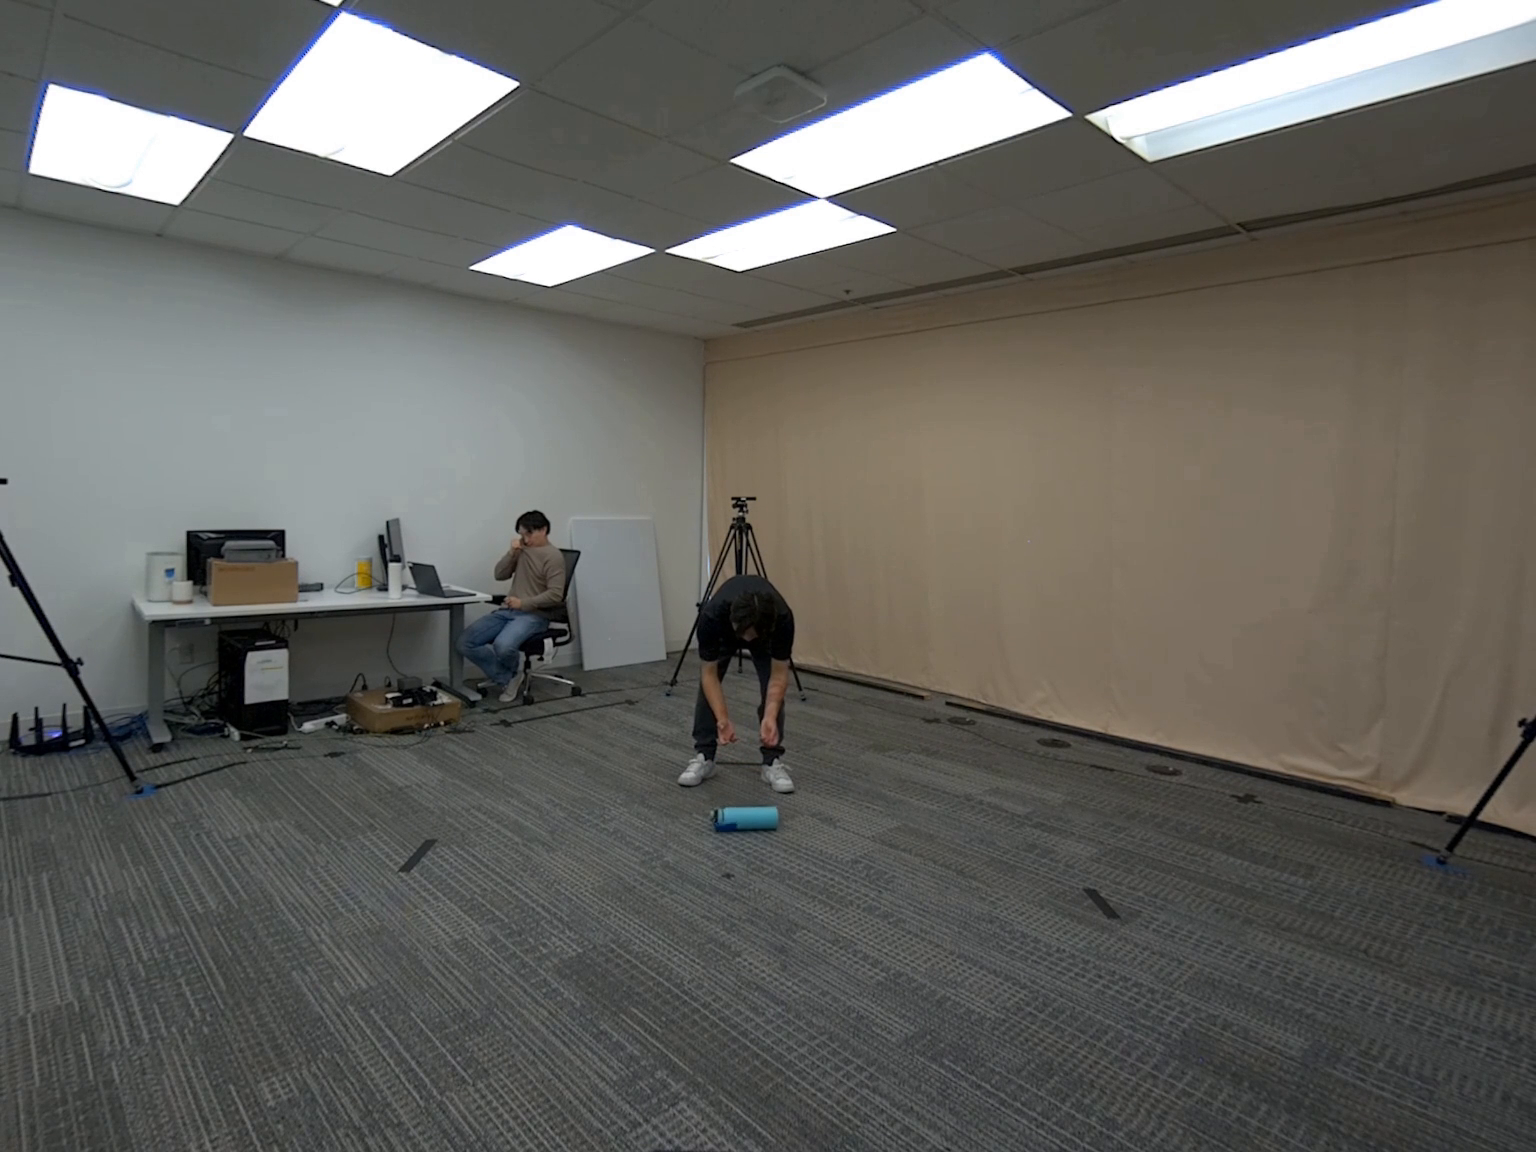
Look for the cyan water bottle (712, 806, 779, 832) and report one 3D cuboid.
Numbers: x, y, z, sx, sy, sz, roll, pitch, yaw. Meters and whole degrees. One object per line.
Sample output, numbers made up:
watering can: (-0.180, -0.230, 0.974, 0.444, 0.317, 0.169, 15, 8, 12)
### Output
cyan water bottle: (-0.110, 1.018, 3.550, 0.281, 0.092, 0.093, 0, 4, -10)
